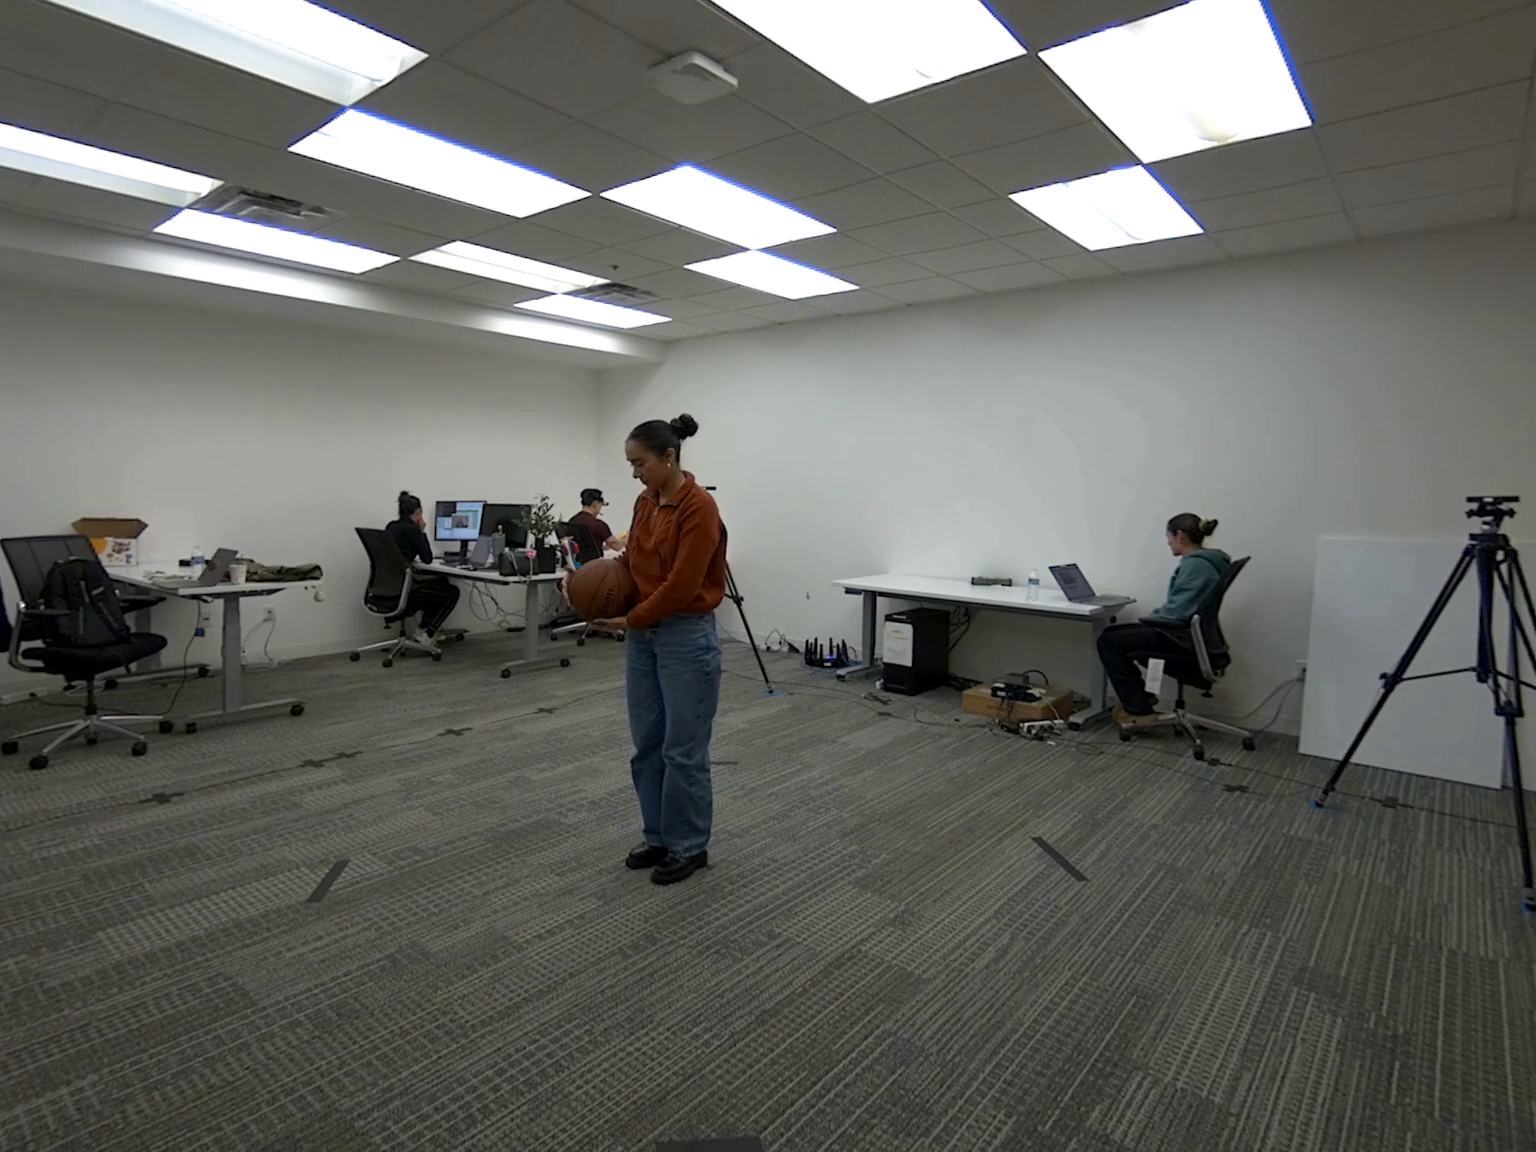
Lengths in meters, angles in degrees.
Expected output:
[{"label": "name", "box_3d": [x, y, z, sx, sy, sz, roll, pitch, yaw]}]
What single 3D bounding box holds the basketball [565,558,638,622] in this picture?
[{"label": "basketball", "box_3d": [-0.601, 0.048, 3.032, 0.235, 0.235, 0.237, 1, 4, -2]}]
